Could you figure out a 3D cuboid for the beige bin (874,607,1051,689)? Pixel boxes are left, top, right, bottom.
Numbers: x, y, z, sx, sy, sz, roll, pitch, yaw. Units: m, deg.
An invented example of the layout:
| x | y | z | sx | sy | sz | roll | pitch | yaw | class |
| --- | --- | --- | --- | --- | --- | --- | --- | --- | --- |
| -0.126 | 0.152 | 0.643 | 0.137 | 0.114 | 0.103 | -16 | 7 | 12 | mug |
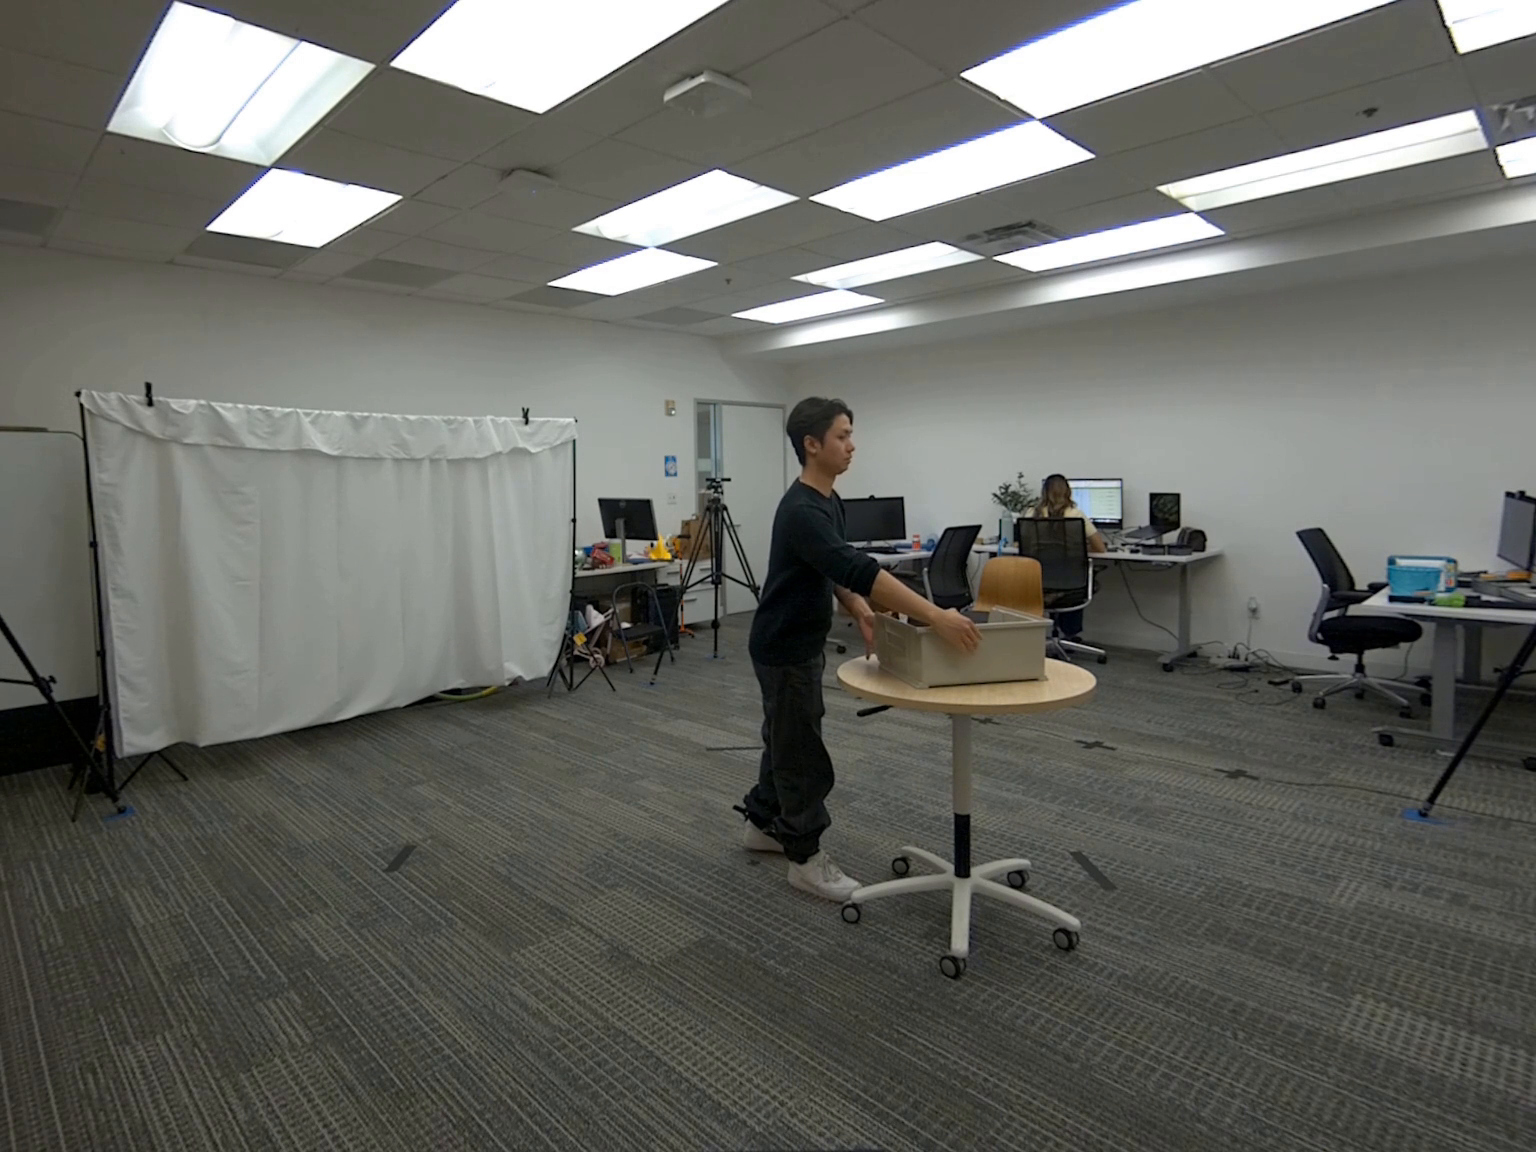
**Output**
| x | y | z | sx | sy | sz | roll | pitch | yaw | class |
| --- | --- | --- | --- | --- | --- | --- | --- | --- | --- |
| 0.590 | 0.214 | 2.646 | 0.418 | 0.188 | 0.383 | -2 | 6 | -11 | beige bin |
